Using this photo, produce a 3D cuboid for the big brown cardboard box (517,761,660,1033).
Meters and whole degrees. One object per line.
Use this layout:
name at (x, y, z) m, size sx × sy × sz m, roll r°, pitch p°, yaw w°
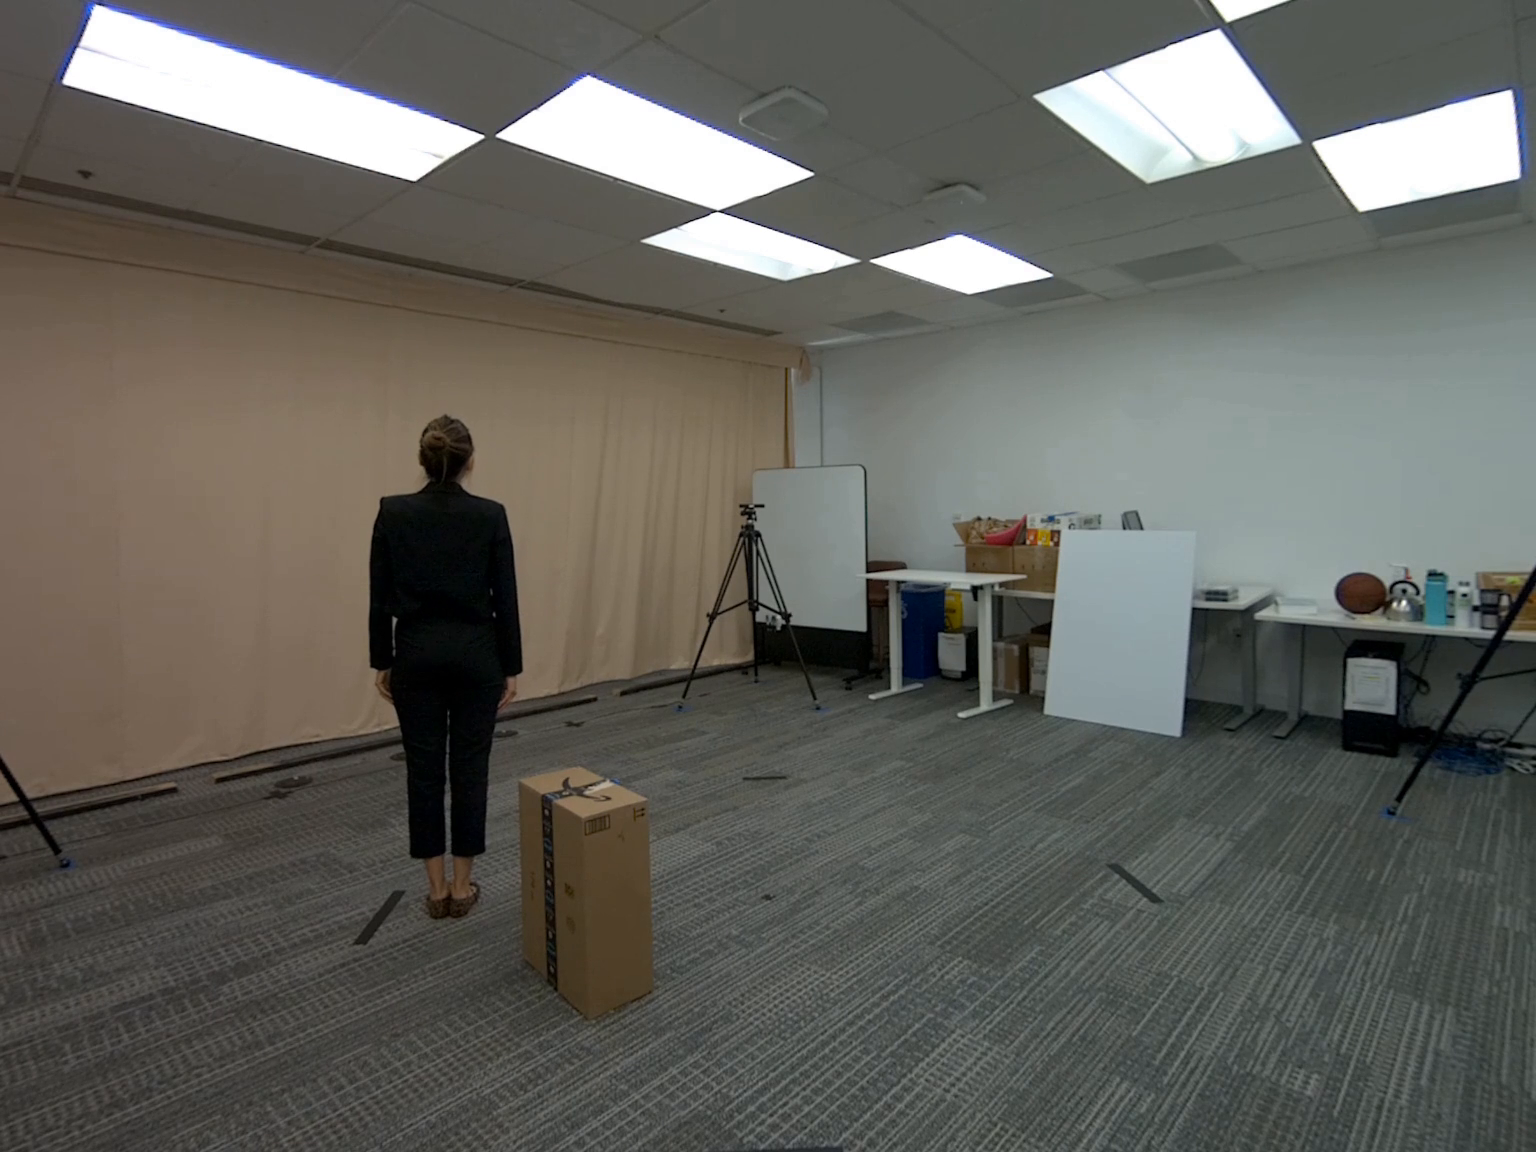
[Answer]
big brown cardboard box at (-0.539, 0.913, 2.503) m, size 0.226 × 0.587 × 0.431 m, roll -4°, pitch 6°, yaw -38°
